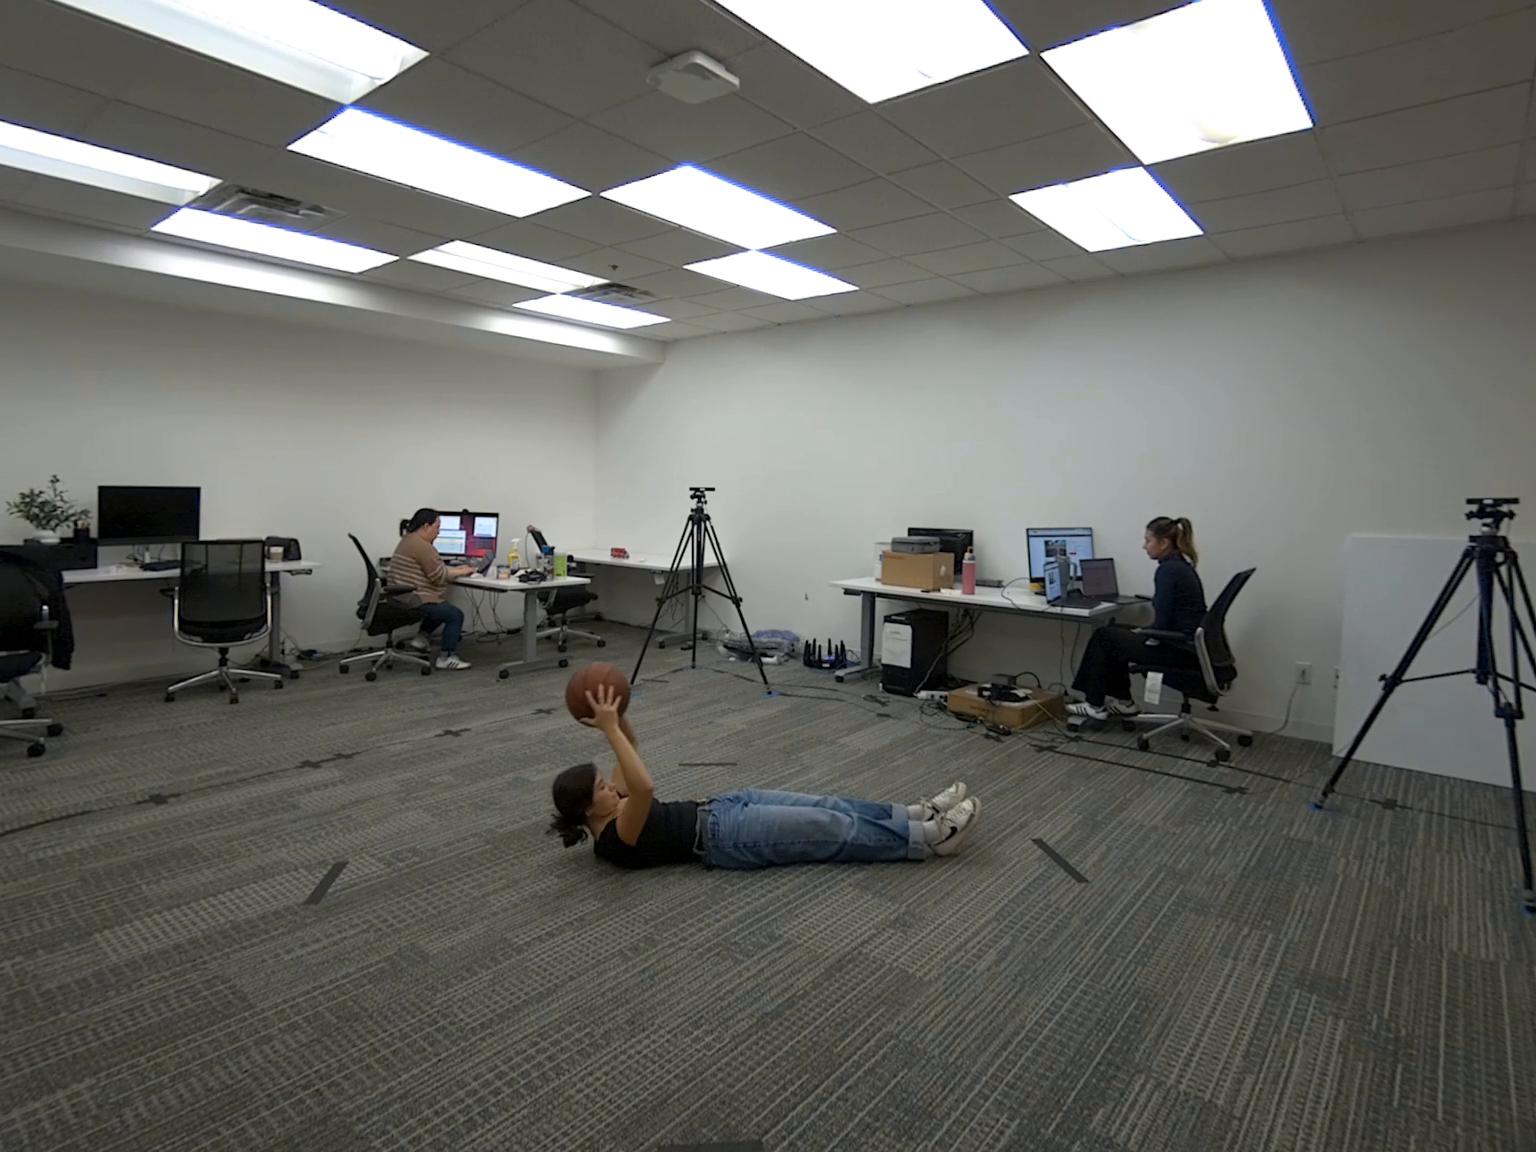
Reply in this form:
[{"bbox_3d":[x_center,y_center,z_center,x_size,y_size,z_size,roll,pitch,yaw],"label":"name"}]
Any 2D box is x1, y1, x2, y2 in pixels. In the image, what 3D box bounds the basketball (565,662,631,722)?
[{"bbox_3d":[-0.630,0.451,3.143,0.235,0.235,0.237,1,4,-2],"label":"basketball"}]
